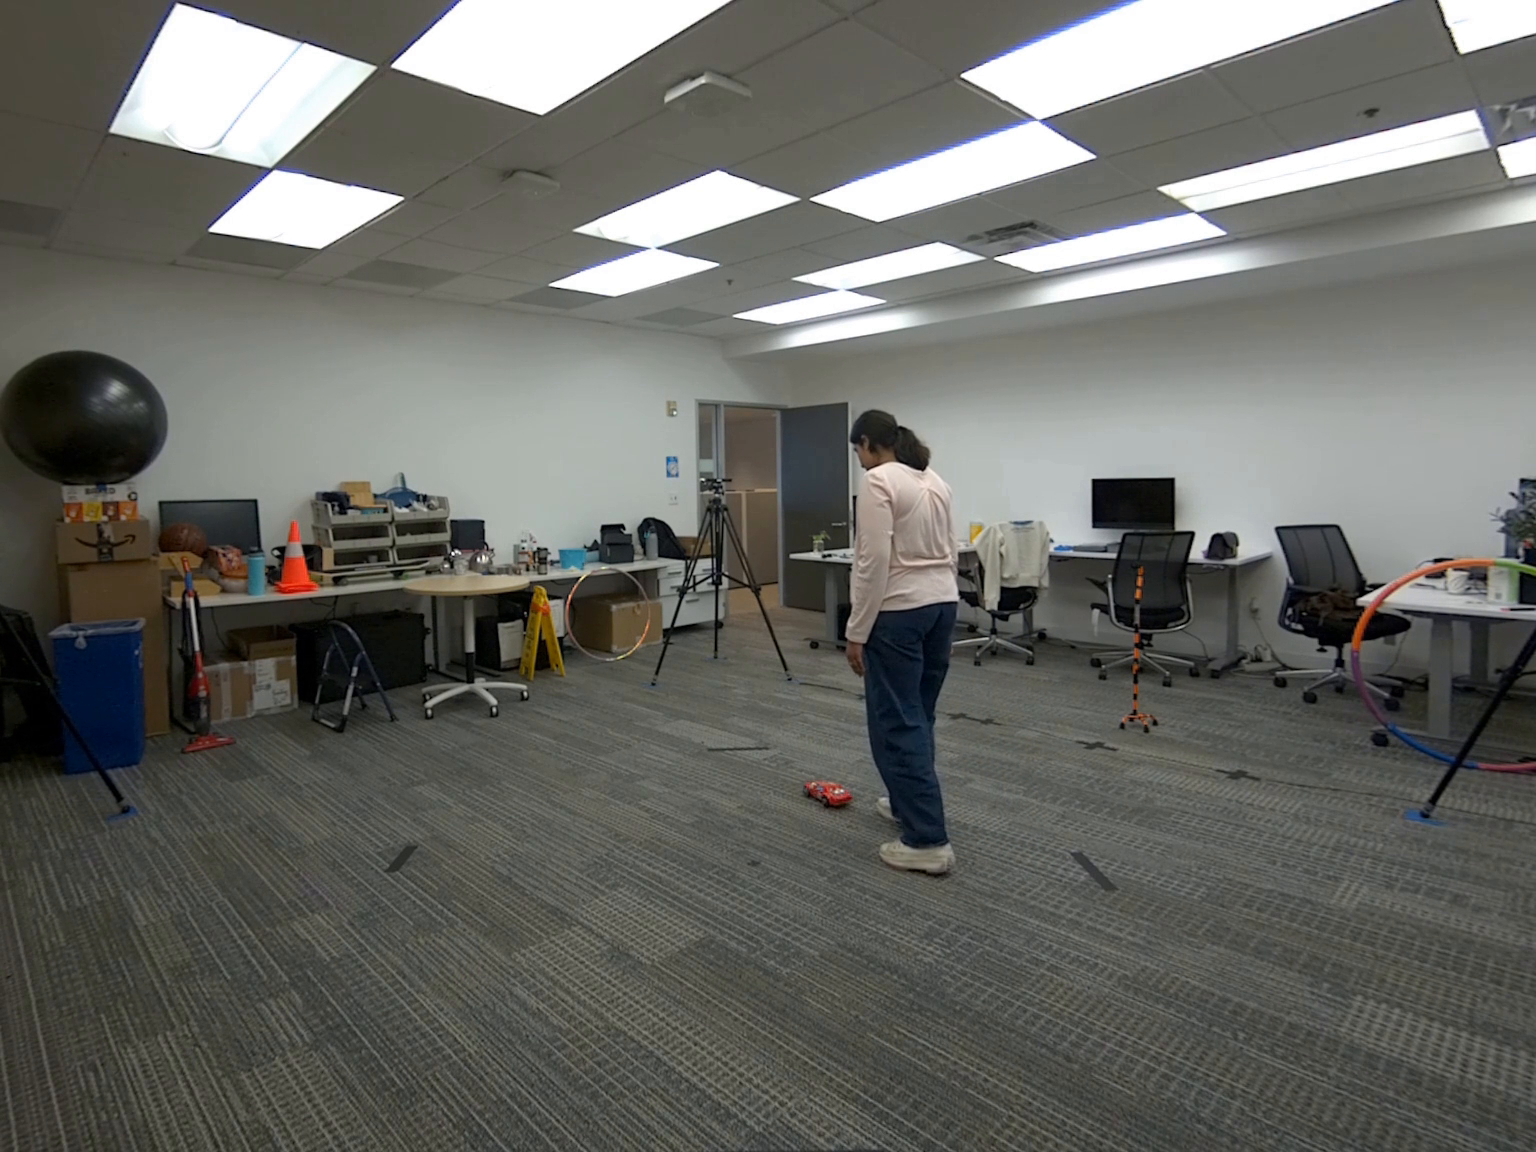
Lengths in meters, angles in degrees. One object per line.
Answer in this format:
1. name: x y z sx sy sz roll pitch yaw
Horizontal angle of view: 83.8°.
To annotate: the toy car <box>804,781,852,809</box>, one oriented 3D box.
1. toy car: 0.264 0.940 3.696 0.127 0.084 0.259 -3 -5 -30
